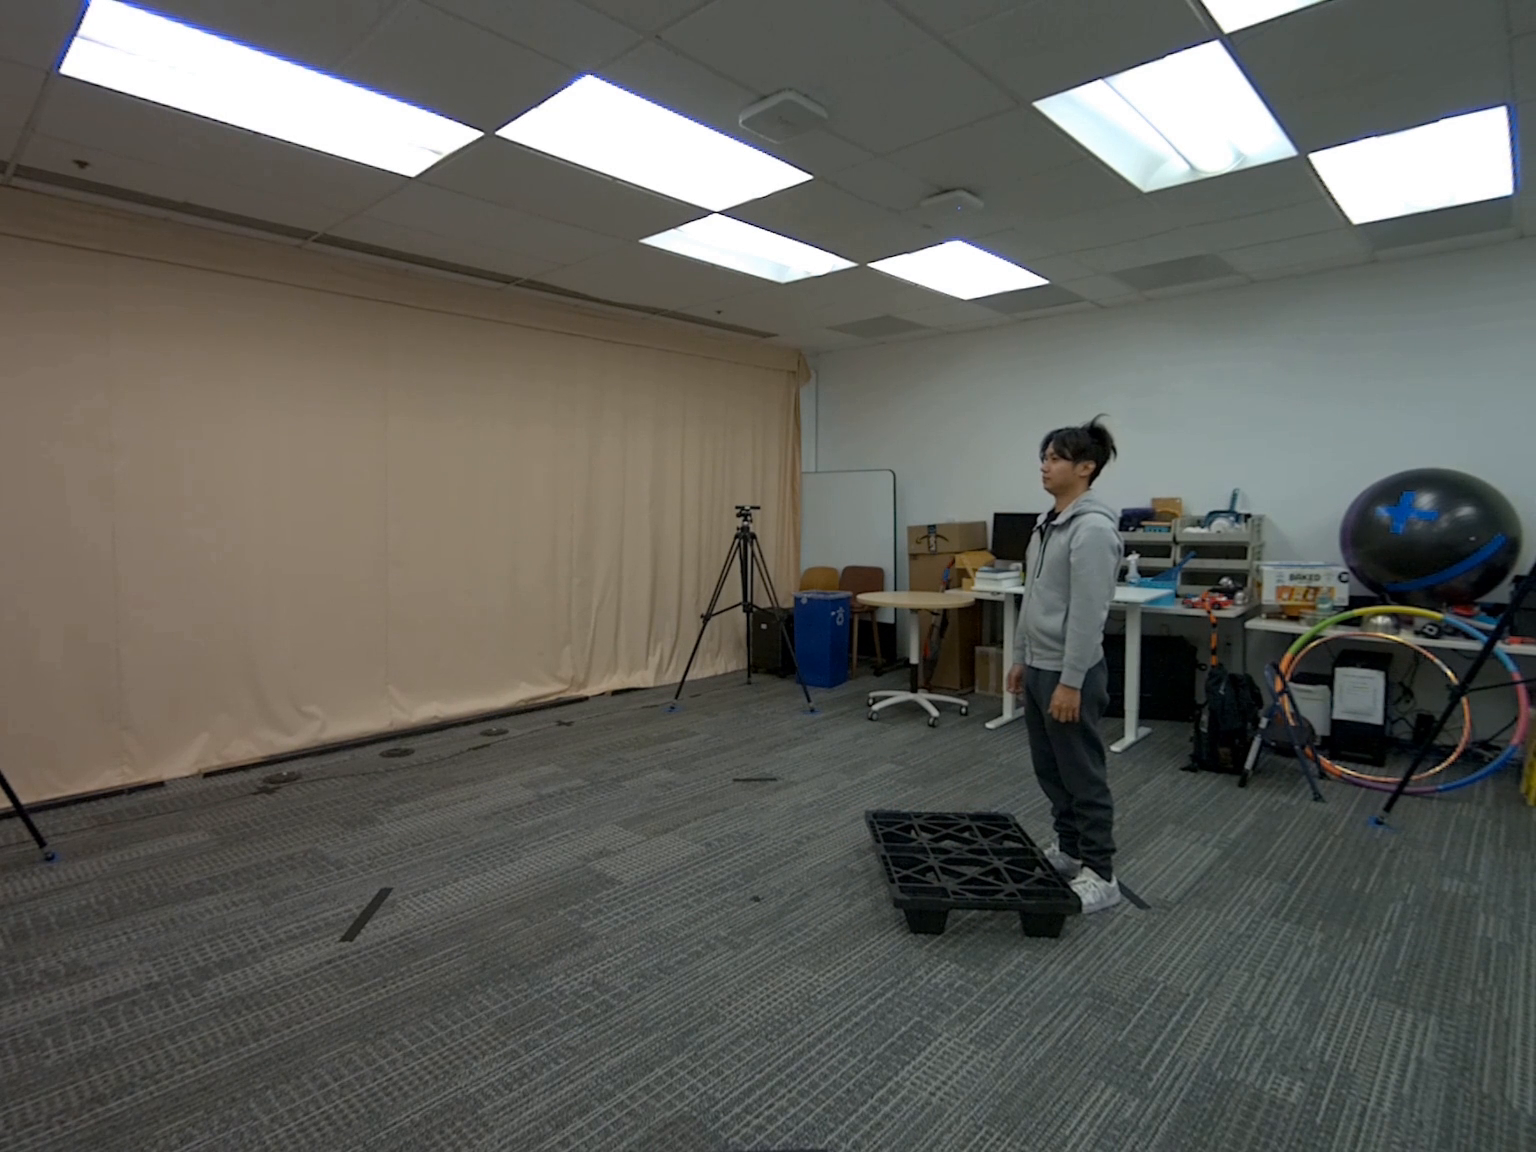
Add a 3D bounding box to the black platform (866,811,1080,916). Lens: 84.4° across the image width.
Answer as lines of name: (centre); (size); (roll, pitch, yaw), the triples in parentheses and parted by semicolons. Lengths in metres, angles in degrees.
black platform: (0.705, 1.066, 3.082); (0.607, 0.143, 0.806); (1, 5, 1)
